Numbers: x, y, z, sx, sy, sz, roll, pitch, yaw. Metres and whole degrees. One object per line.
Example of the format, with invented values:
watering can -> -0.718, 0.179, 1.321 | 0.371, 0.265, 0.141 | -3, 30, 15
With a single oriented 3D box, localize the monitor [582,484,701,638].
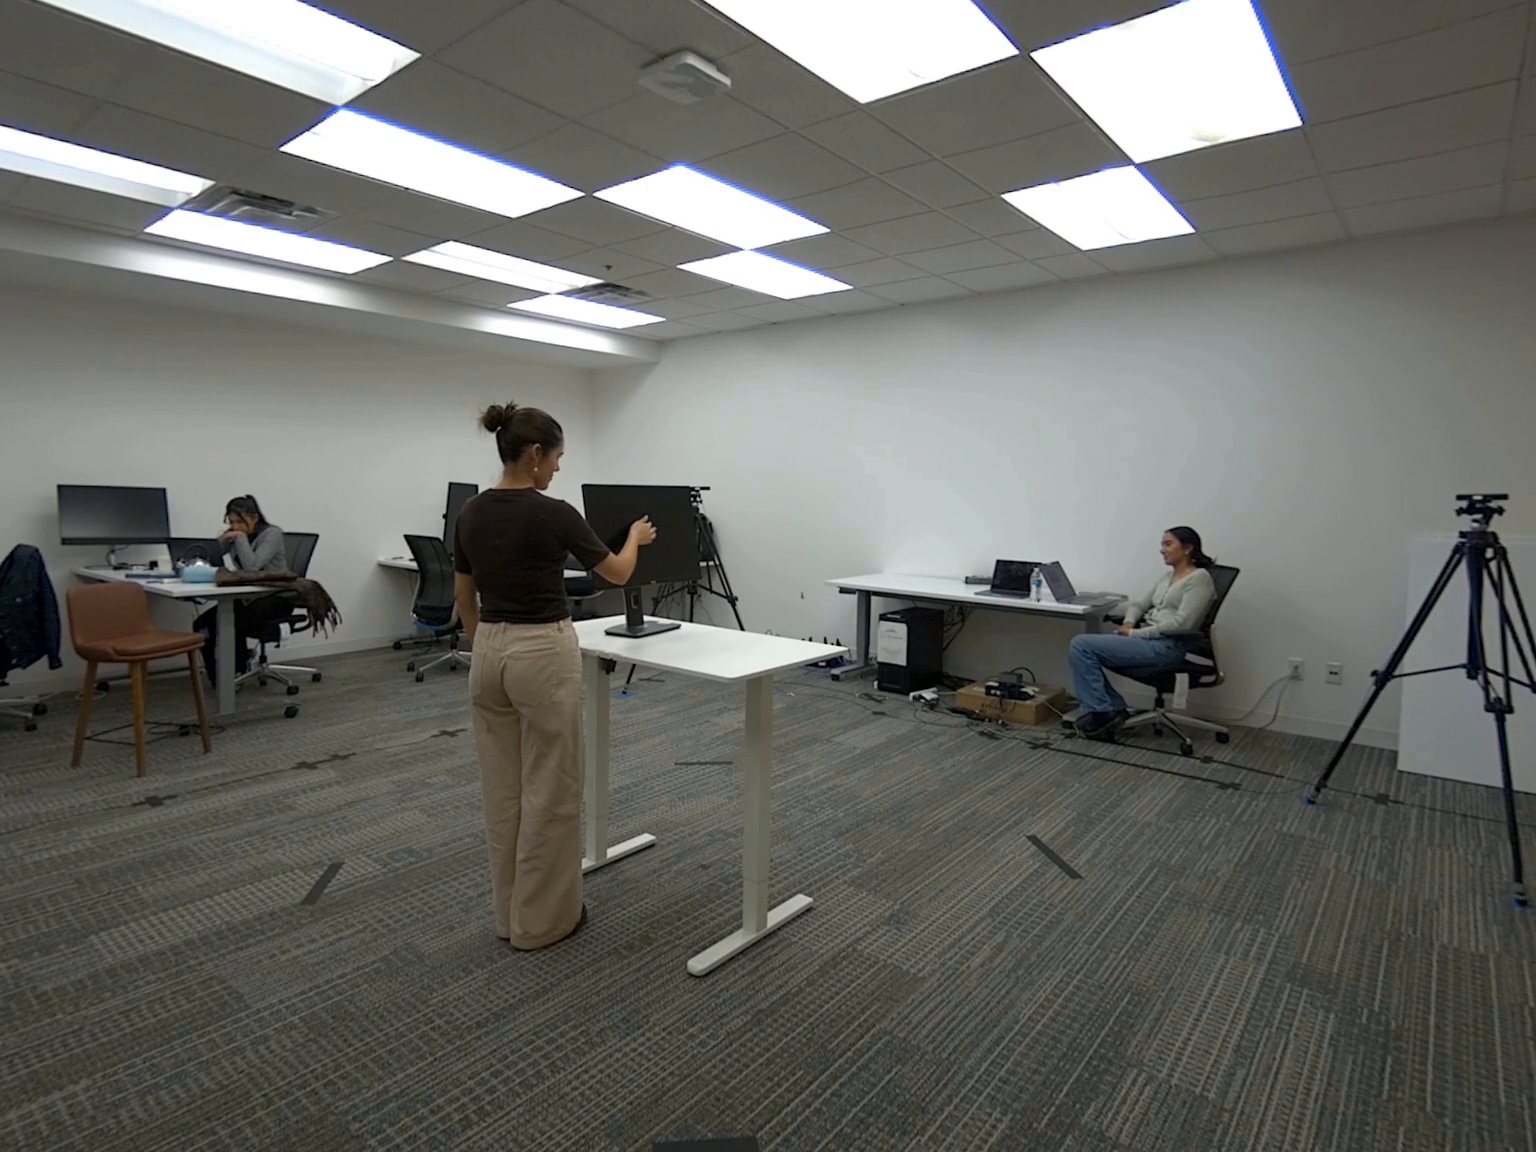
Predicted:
monitor -> -0.461, -0.061, 2.982 | 0.193, 0.521, 0.524 | 3, 4, 35
